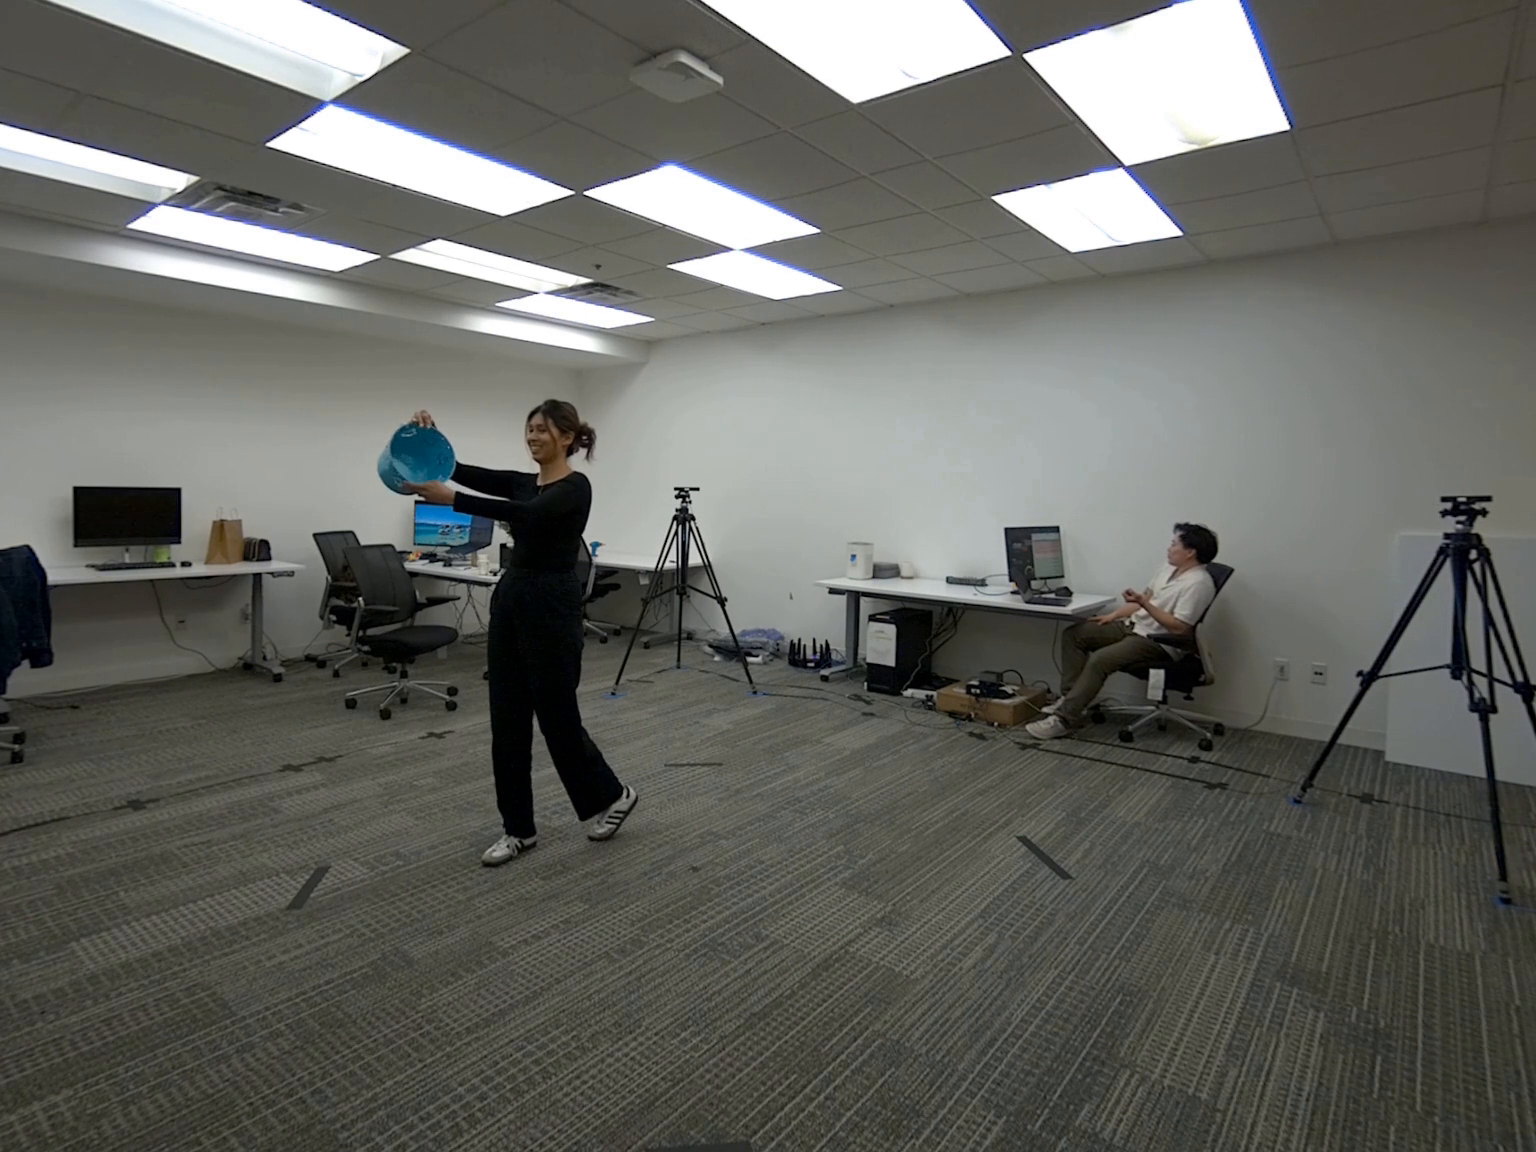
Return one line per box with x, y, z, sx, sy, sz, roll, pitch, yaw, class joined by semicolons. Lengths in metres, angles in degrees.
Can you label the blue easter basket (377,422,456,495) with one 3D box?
-1.196;-0.378;2.870;0.159;0.246;0.236;-19;-11;41;blue easter basket
